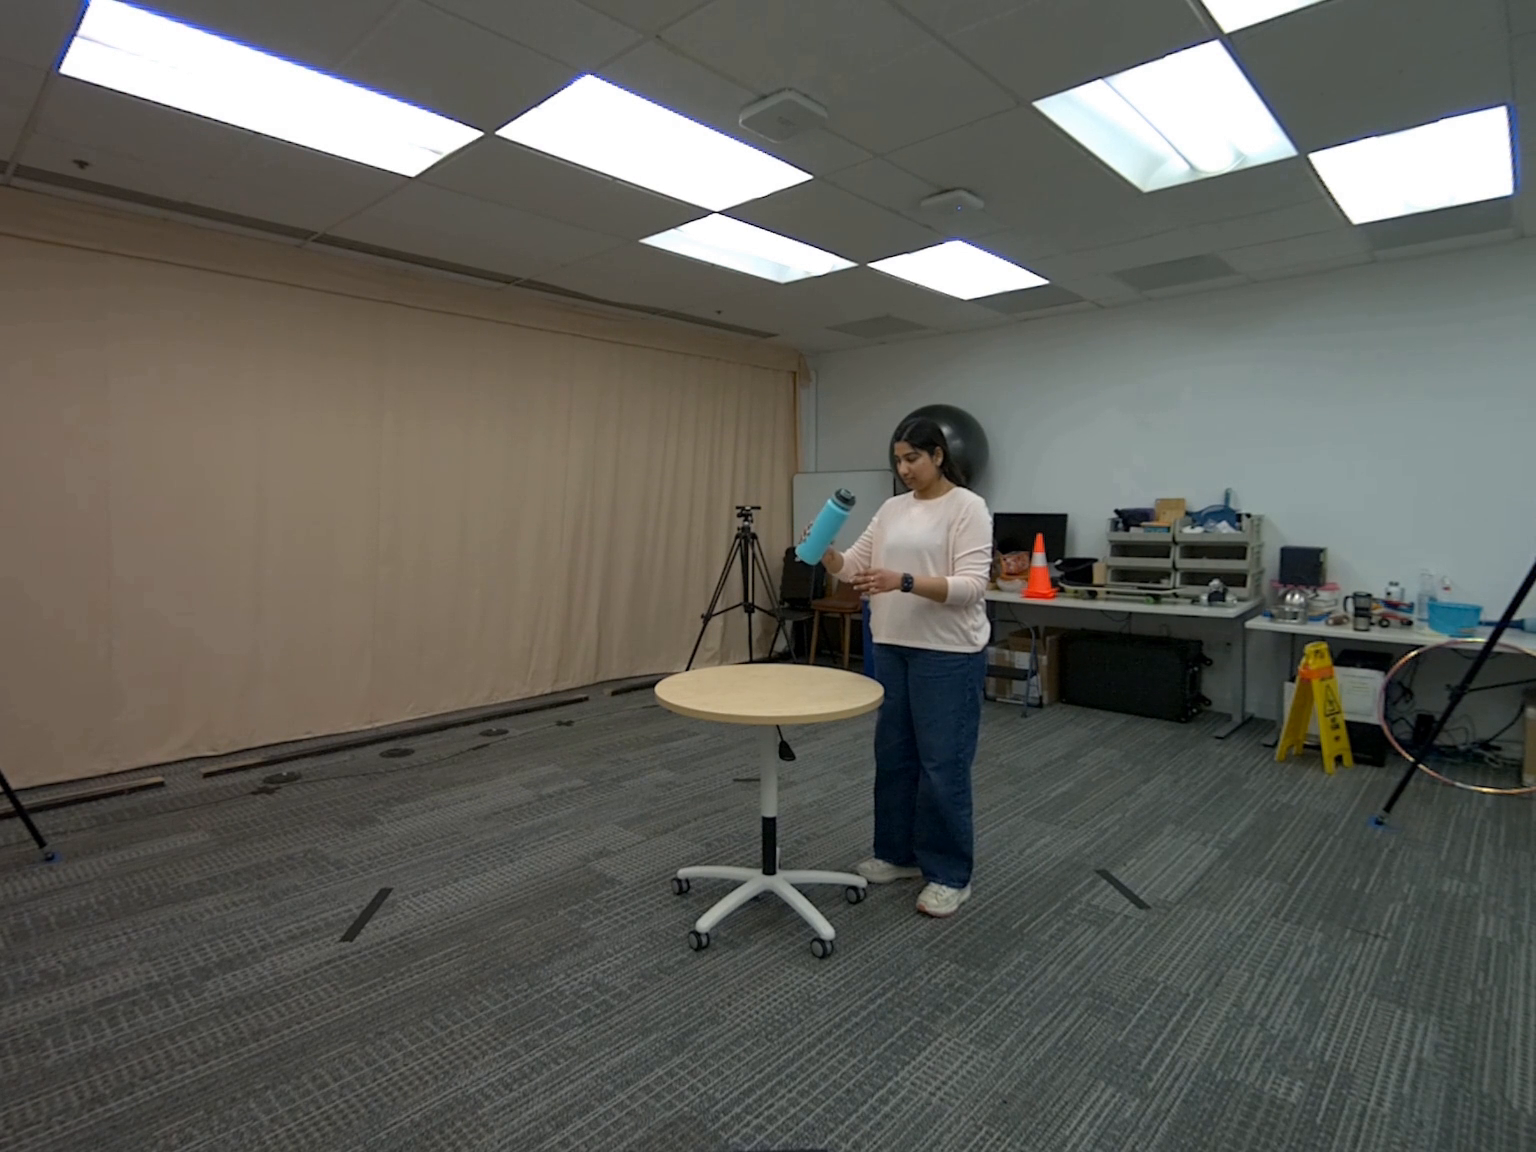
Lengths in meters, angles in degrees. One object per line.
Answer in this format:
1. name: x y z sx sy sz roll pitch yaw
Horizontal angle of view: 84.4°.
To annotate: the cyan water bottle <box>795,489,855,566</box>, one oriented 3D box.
1. cyan water bottle: 0.208 -0.173 2.862 0.091 0.283 0.094 25 24 -14
